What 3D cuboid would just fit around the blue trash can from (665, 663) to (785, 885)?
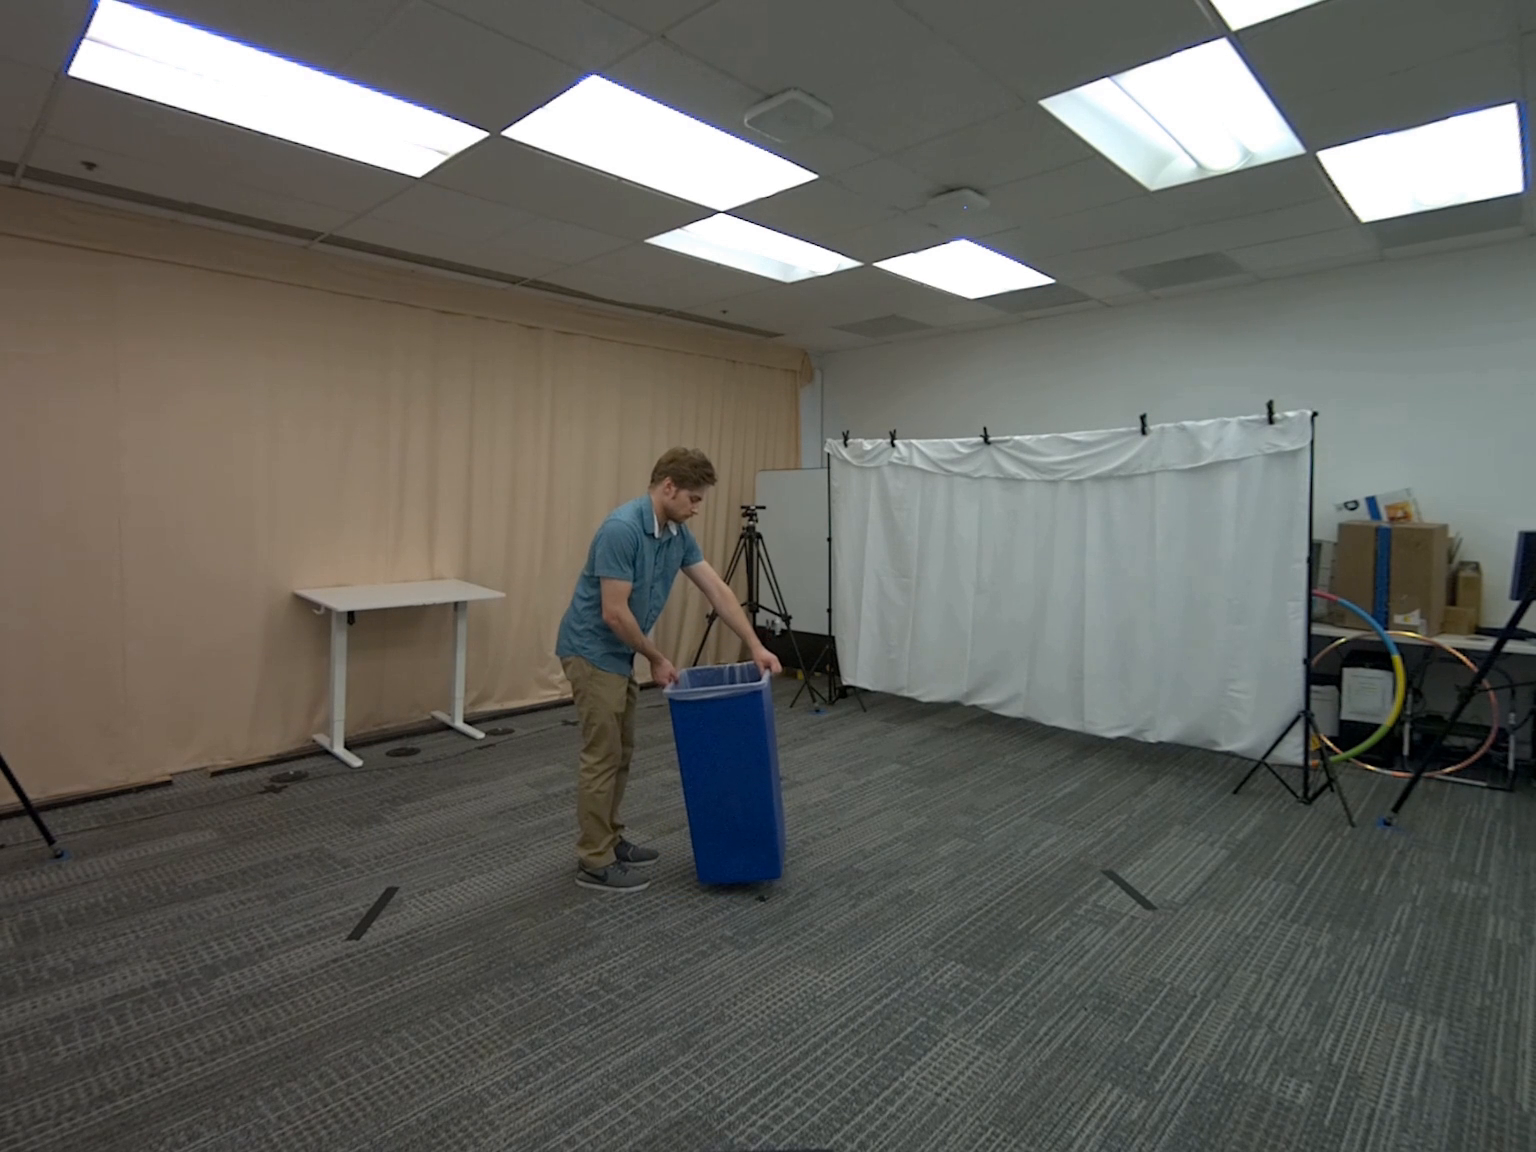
[{"bbox_3d":[-0.141,0.719,3.099,0.376,0.711,0.377,-6,4,5],"label":"blue trash can"}]
